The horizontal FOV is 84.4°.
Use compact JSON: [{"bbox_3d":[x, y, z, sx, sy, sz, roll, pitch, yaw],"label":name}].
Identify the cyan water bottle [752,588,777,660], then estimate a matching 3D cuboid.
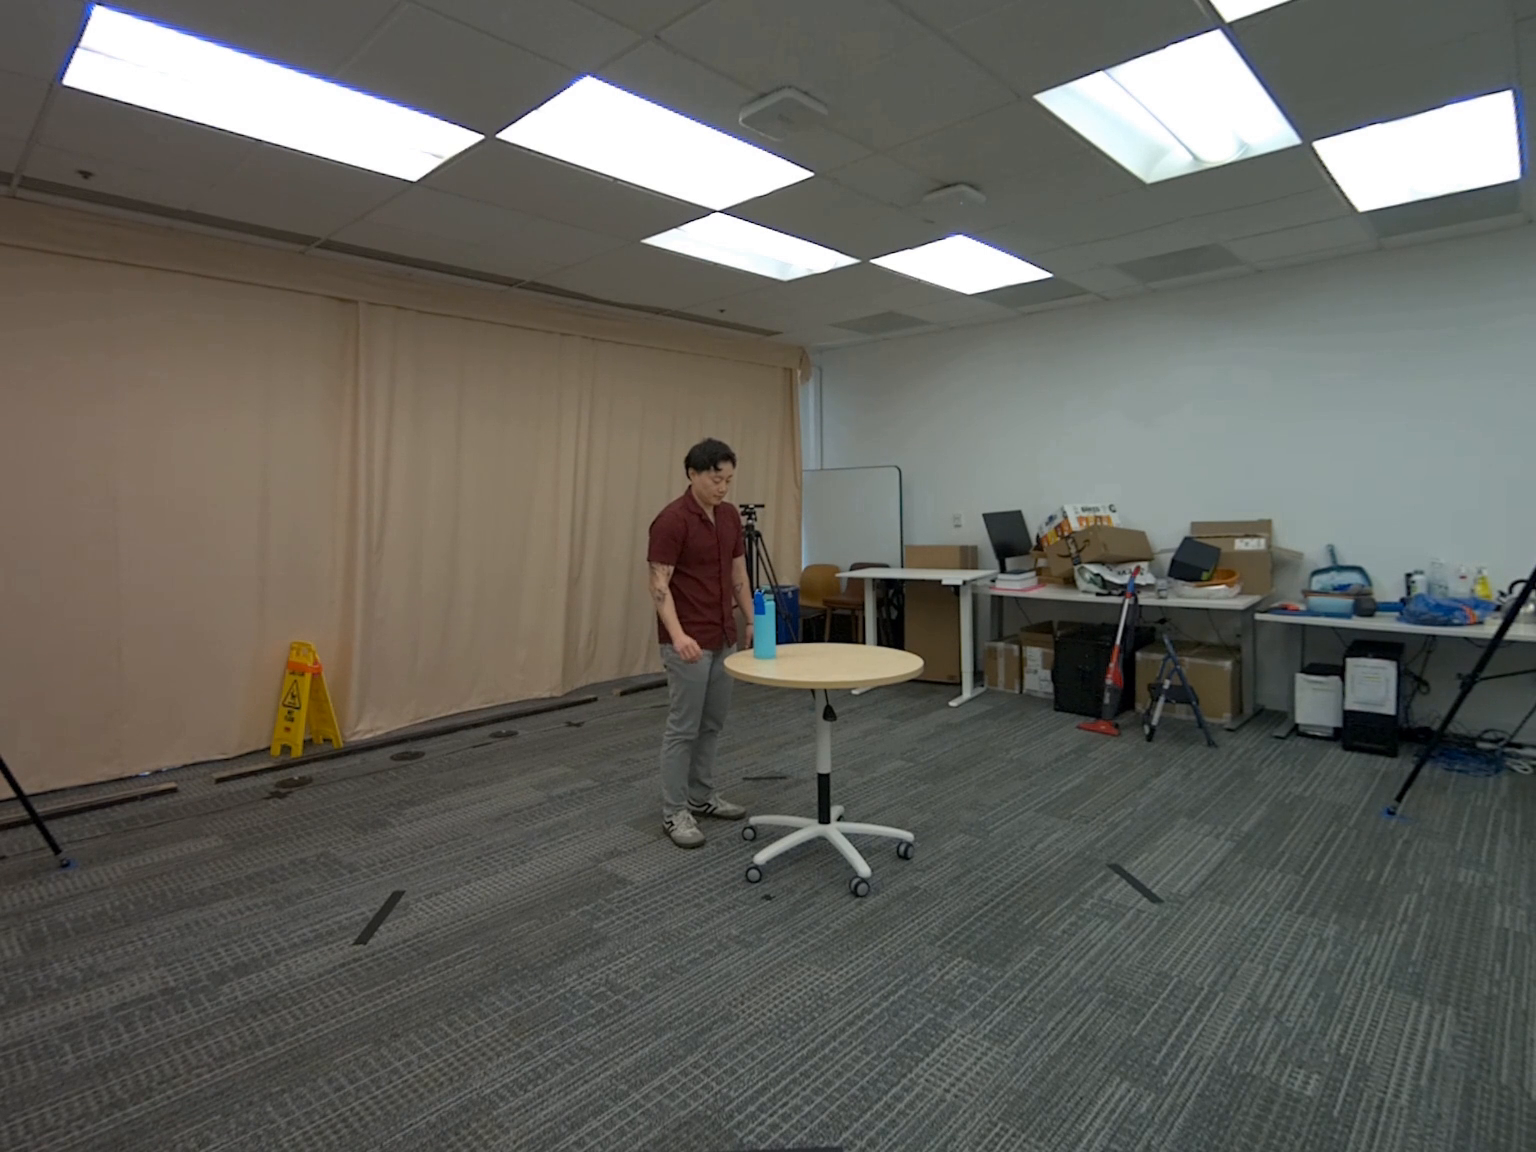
[{"bbox_3d":[-0.007,0.185,3.357,0.092,0.282,0.093,-1,4,-2],"label":"cyan water bottle"}]
